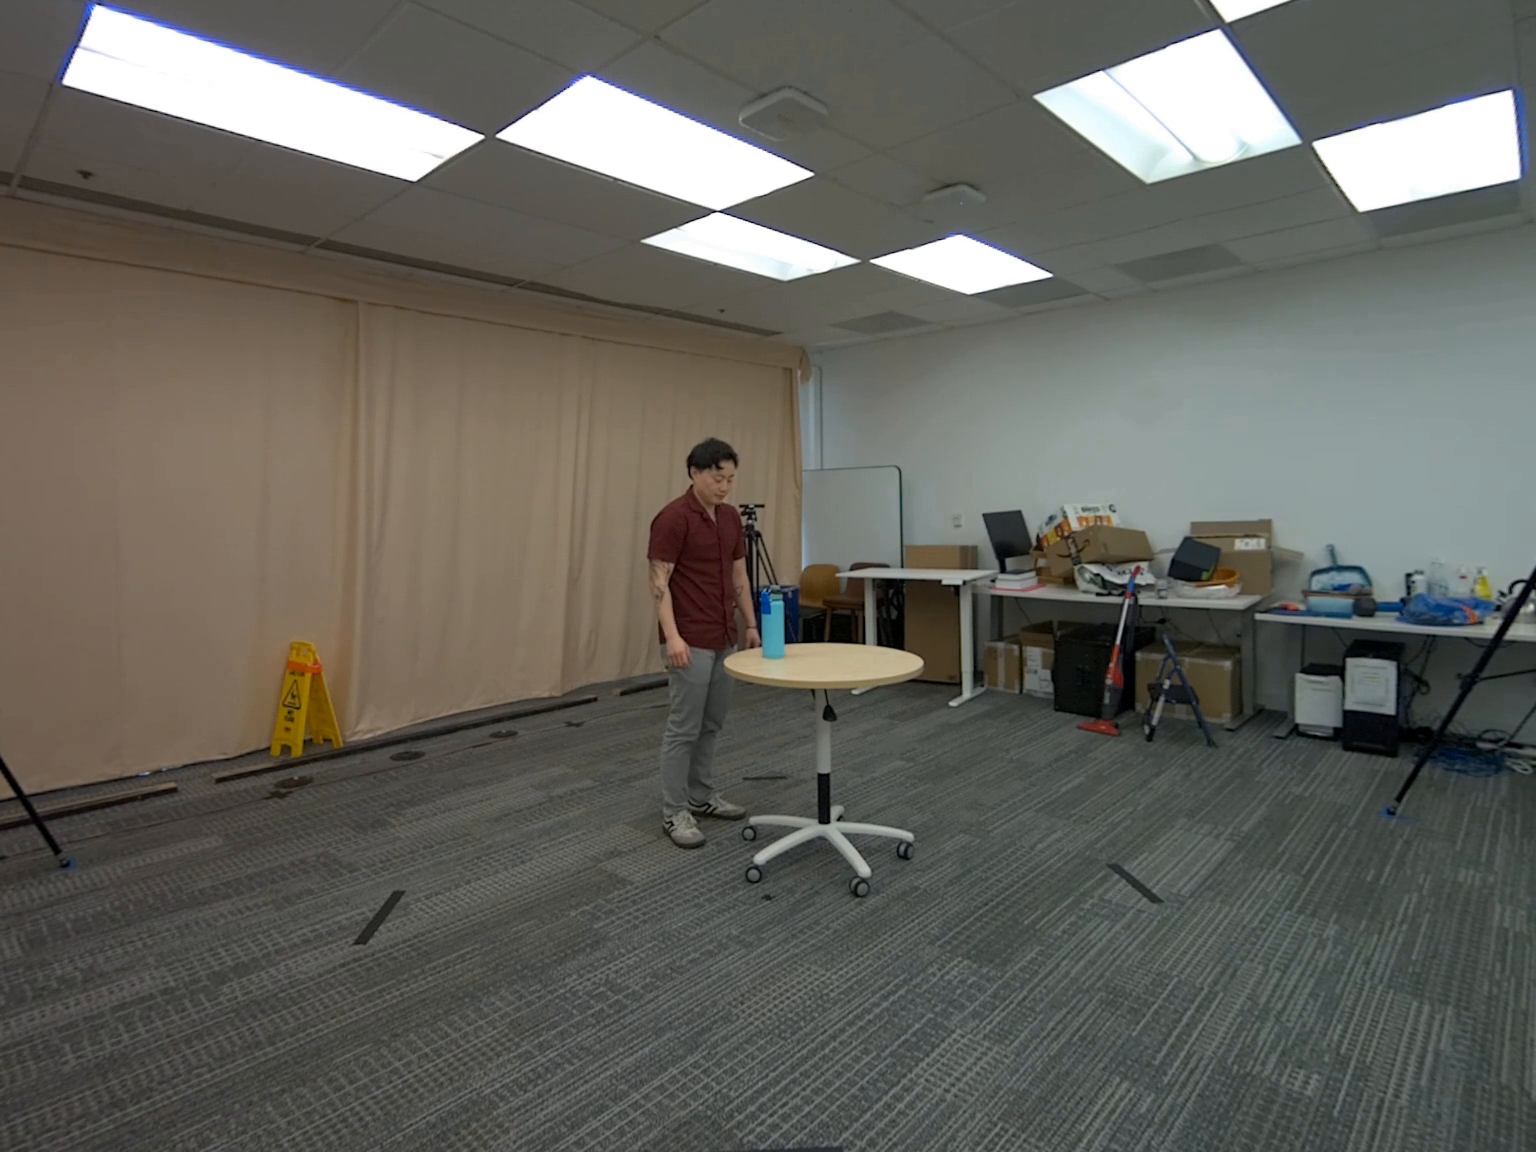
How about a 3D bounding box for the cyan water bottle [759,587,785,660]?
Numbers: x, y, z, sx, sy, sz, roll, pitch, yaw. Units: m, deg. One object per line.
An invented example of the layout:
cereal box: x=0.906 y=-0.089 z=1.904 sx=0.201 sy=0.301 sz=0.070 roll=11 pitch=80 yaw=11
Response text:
cyan water bottle: x=0.026 y=0.183 z=3.355 sx=0.092 sy=0.282 sz=0.093 roll=1 pitch=5 yaw=-2
